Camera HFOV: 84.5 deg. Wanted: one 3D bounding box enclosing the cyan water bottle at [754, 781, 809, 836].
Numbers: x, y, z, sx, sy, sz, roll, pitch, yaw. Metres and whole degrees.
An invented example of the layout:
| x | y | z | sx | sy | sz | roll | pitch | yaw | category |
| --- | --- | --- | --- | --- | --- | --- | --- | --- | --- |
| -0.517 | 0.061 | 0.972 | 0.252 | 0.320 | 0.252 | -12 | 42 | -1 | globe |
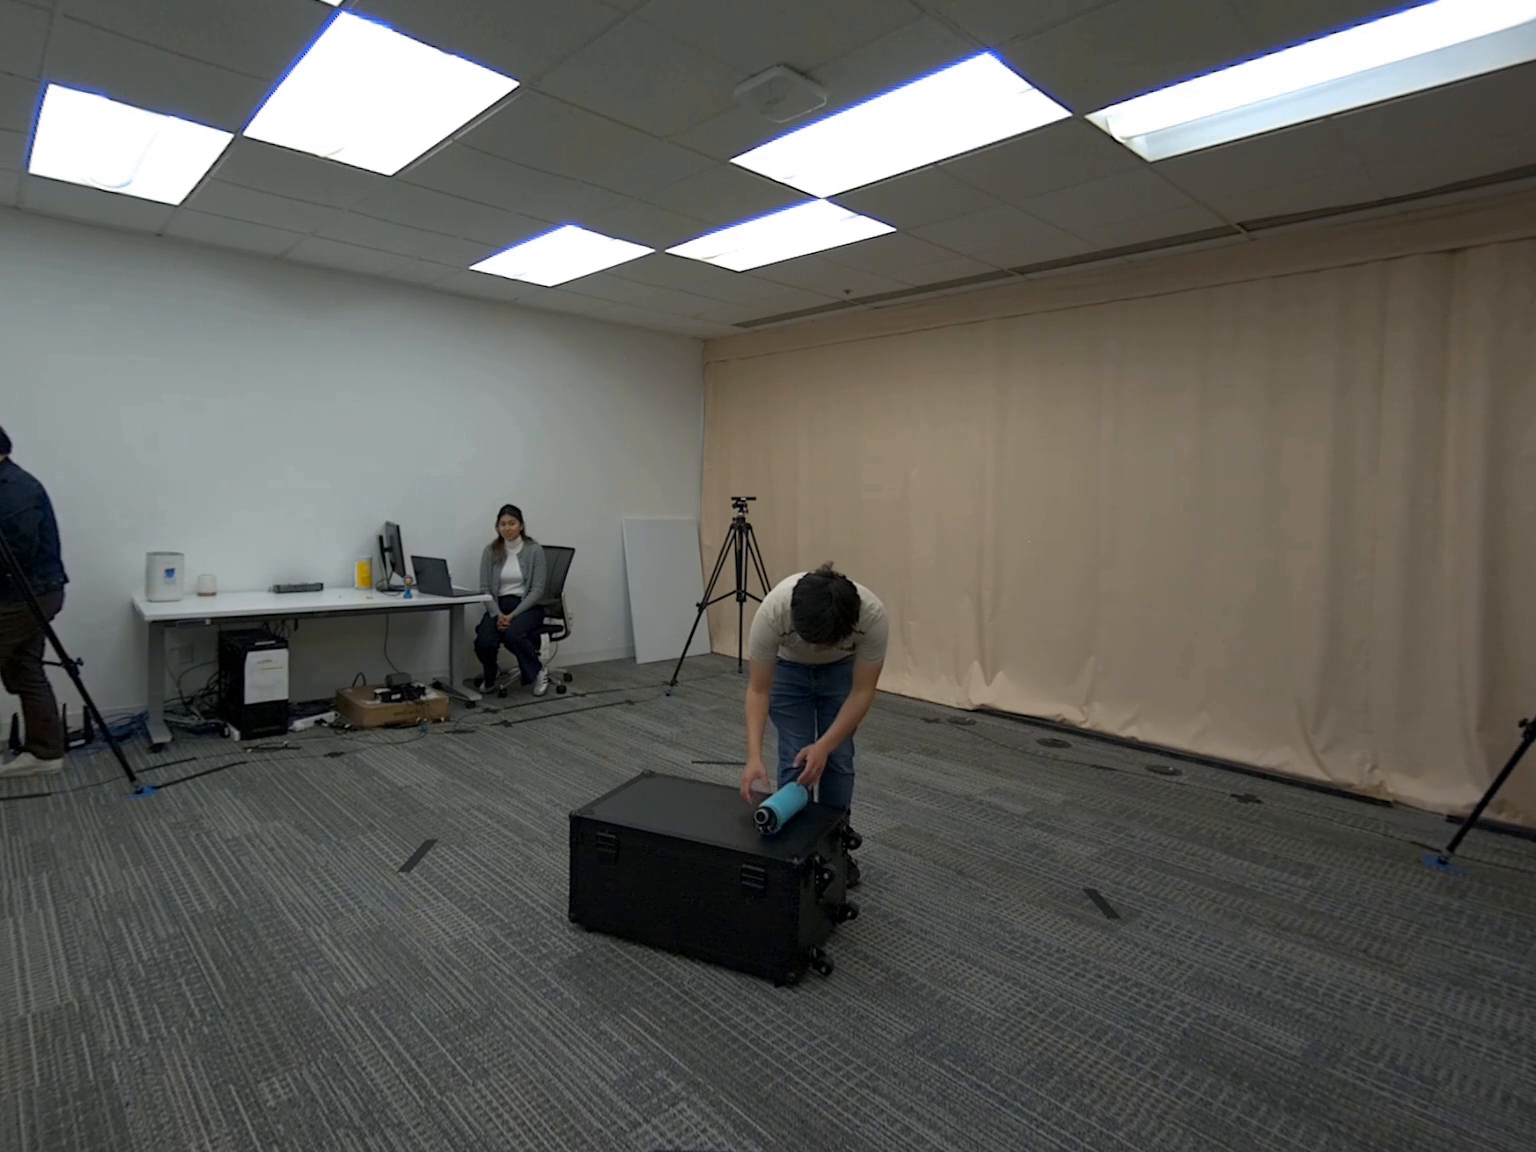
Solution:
| x | y | z | sx | sy | sz | roll | pitch | yaw | category |
| --- | --- | --- | --- | --- | --- | --- | --- | --- | --- |
| 0.019 | 0.731 | 2.636 | 0.094 | 0.092 | 0.279 | 3 | 5 | 20 | cyan water bottle |
